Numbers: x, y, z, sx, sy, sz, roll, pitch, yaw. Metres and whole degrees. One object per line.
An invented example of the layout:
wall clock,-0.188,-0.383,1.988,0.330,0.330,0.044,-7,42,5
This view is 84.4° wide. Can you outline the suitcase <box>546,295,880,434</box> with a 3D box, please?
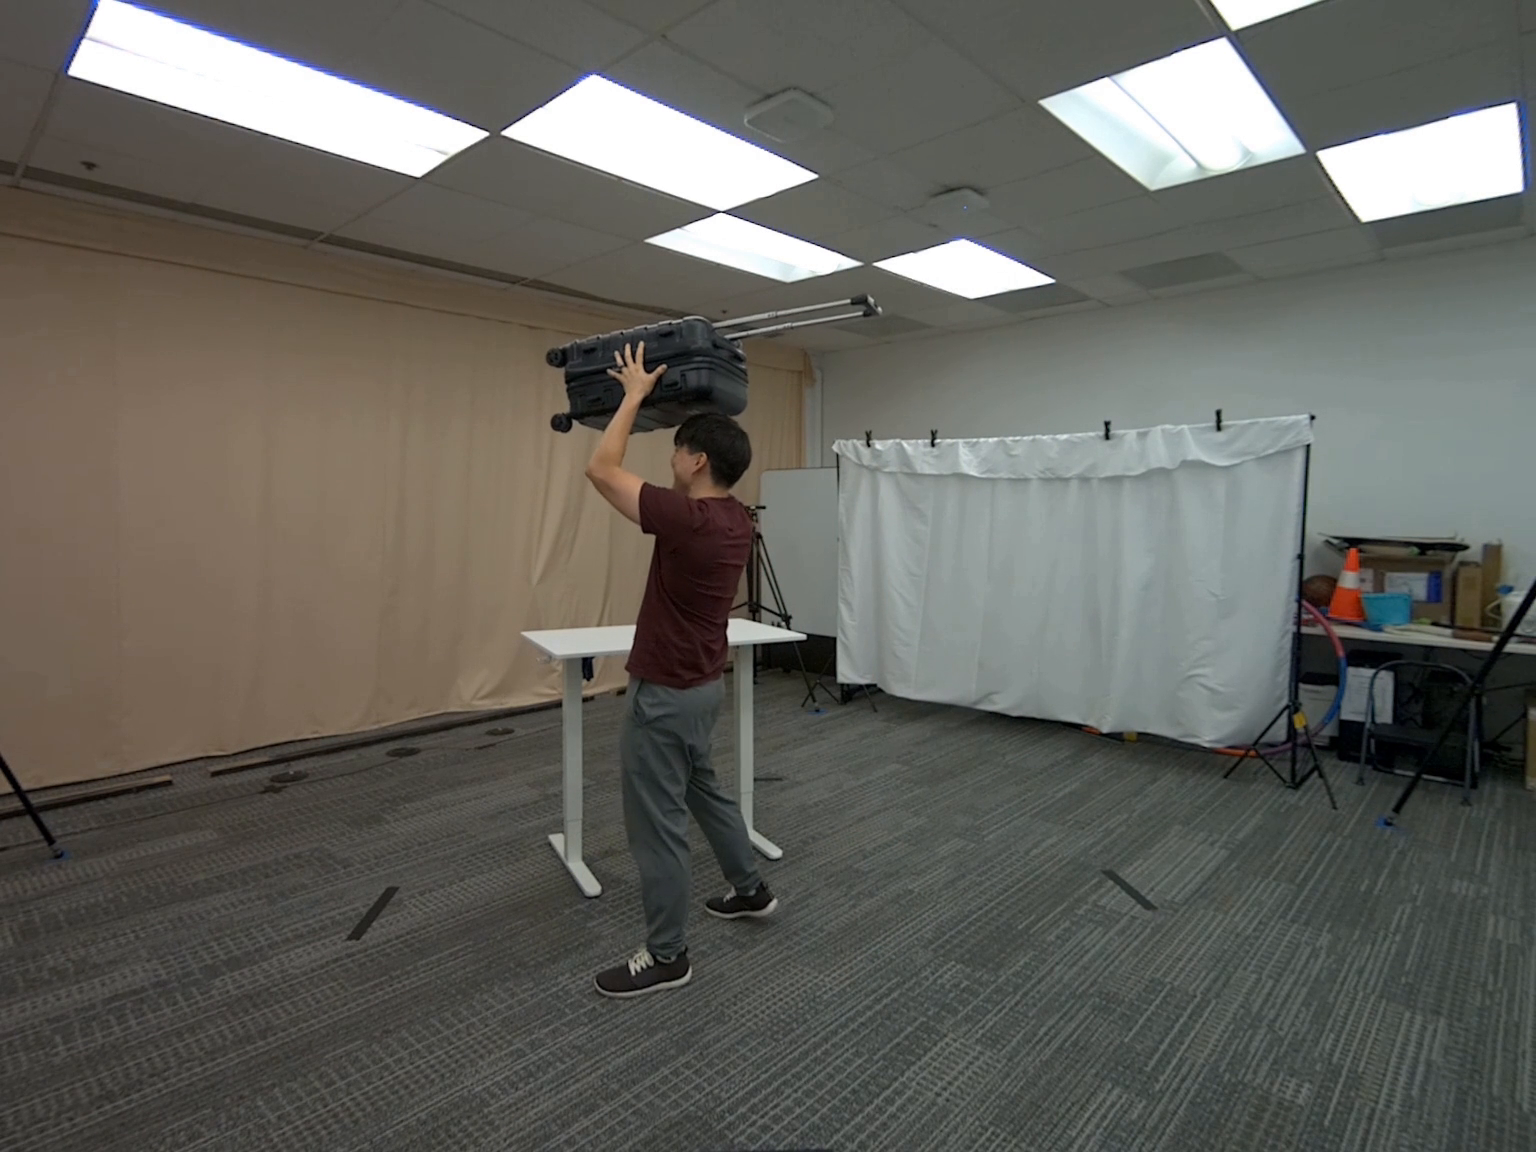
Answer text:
suitcase,-0.153,-0.613,2.516,1.000,0.257,0.375,-4,-1,23
